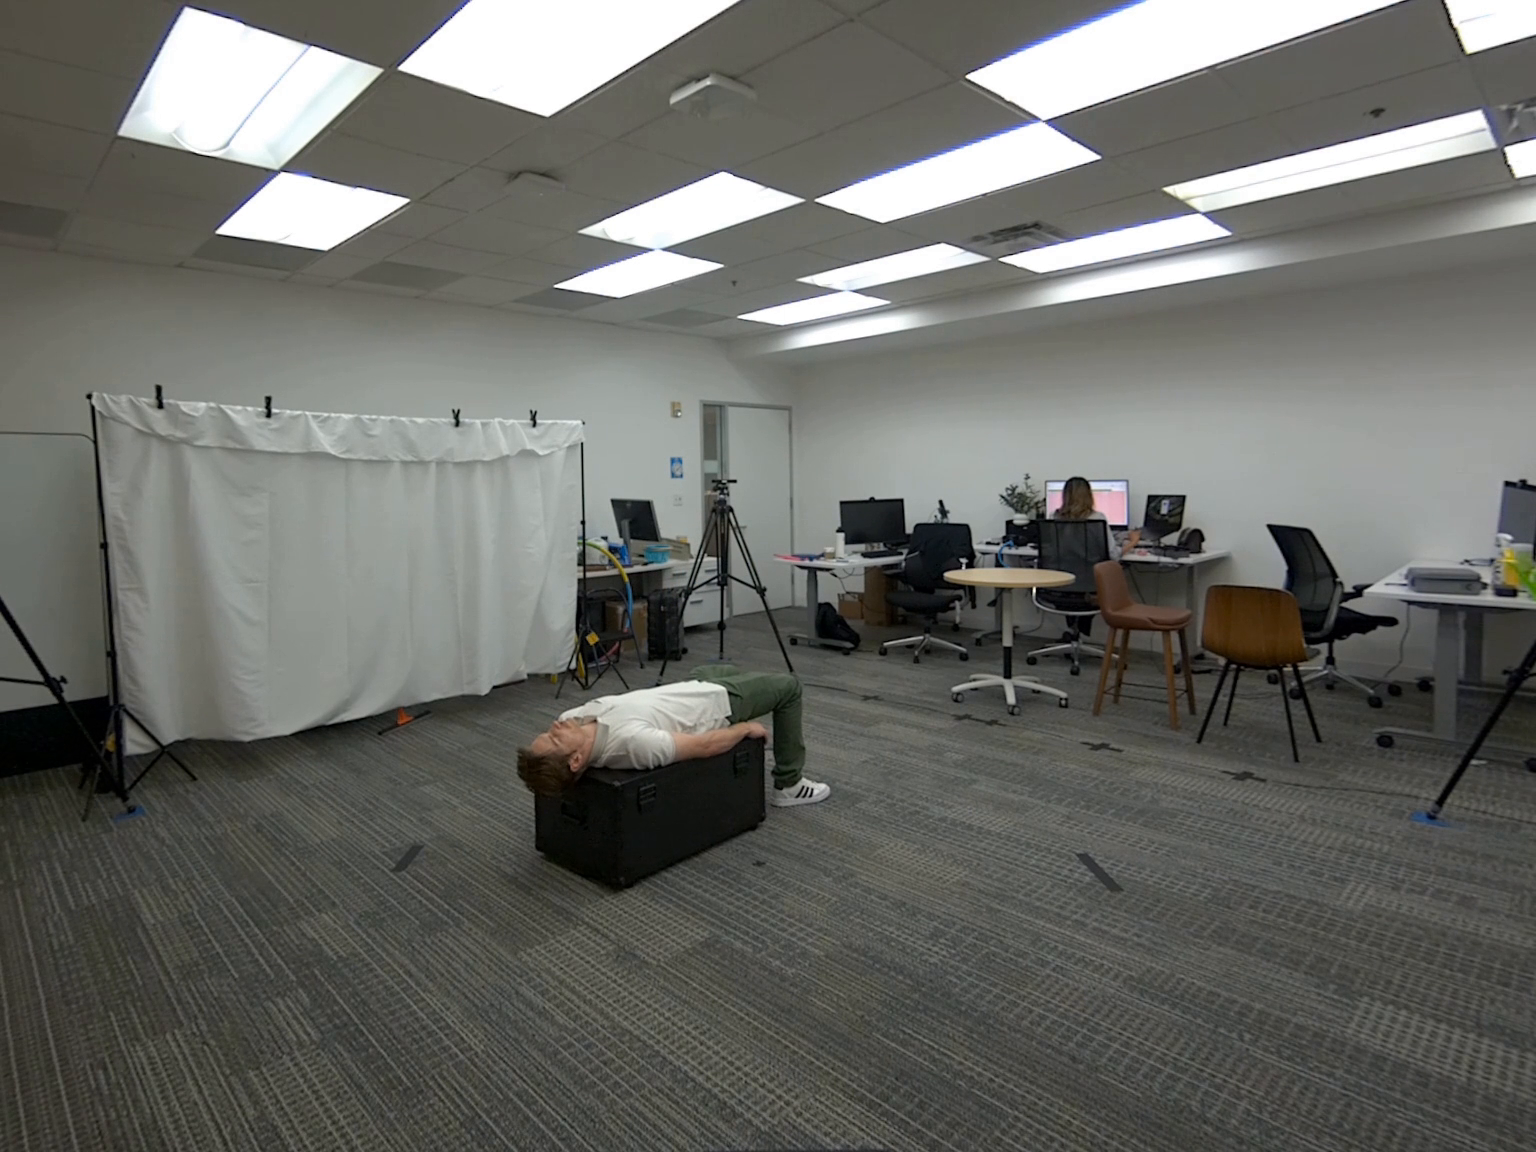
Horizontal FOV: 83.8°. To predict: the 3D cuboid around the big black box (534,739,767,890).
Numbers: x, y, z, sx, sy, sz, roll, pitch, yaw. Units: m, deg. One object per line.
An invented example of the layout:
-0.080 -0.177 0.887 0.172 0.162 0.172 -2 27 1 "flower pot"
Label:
-0.414 0.840 3.345 0.539 0.384 0.846 3 6 42 "big black box"
